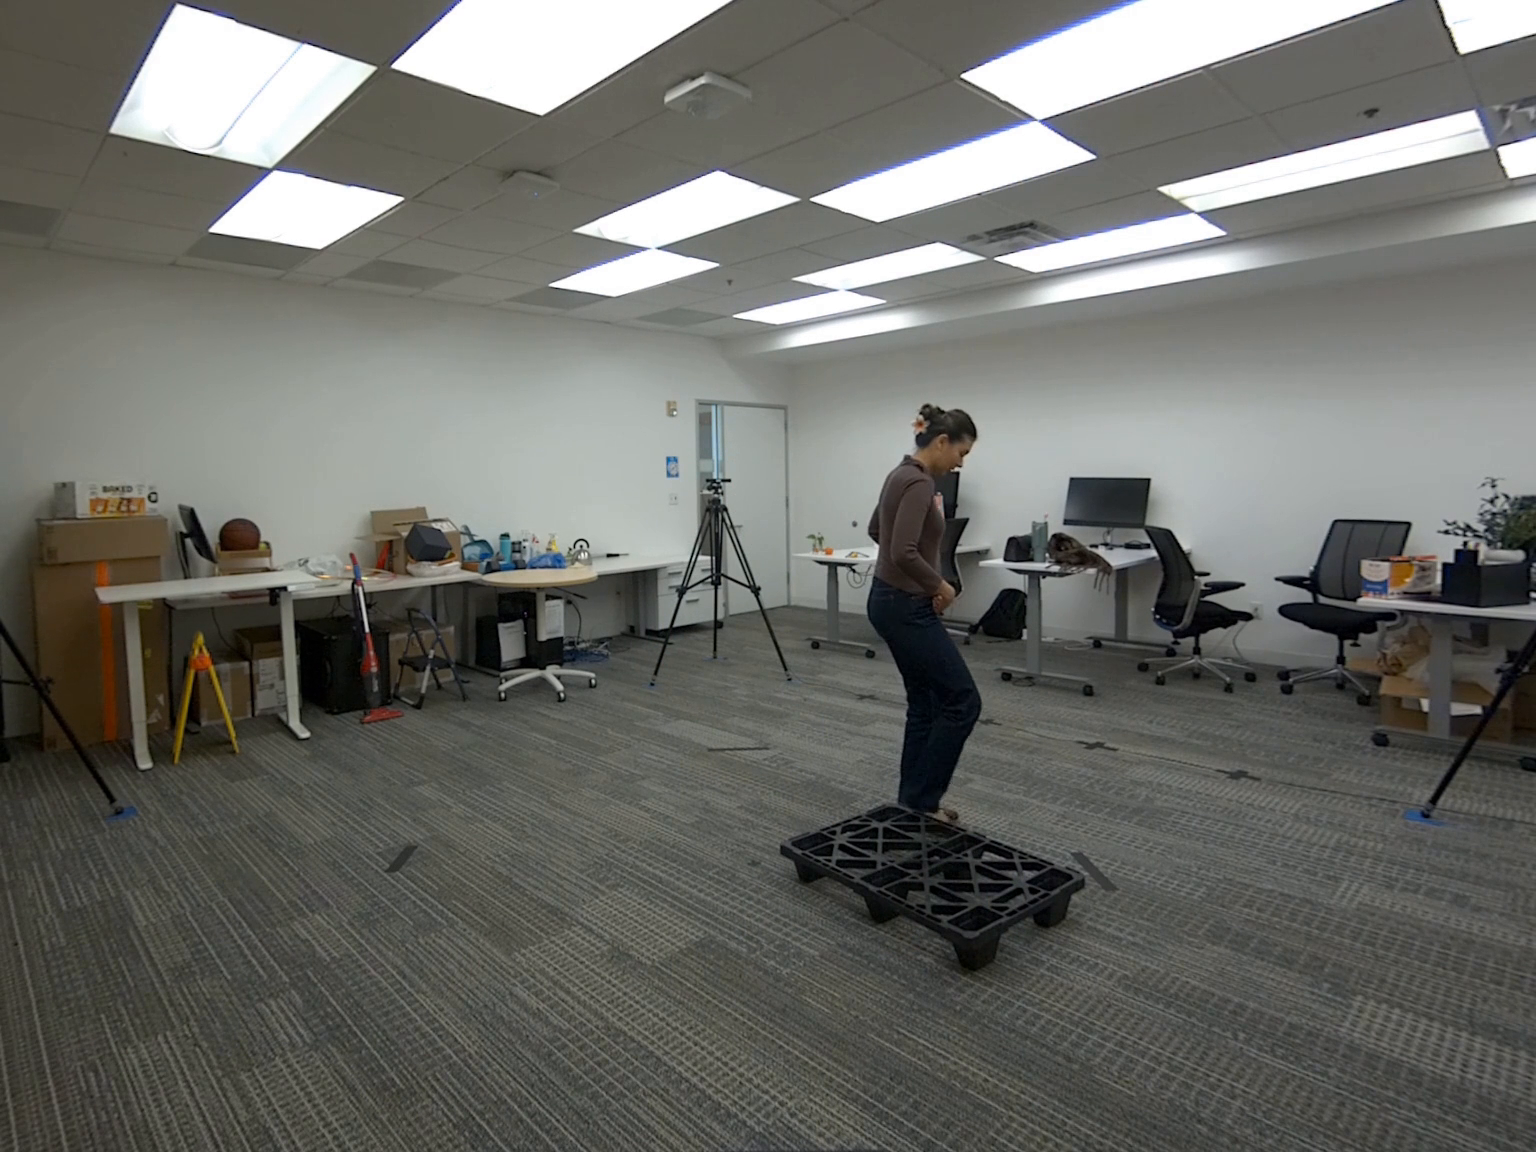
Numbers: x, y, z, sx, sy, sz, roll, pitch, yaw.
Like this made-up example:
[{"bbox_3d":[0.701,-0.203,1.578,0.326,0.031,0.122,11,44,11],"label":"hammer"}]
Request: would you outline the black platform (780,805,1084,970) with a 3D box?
[{"bbox_3d":[0.520,1.001,2.822,0.590,0.142,0.830,-7,9,-38],"label":"black platform"}]
